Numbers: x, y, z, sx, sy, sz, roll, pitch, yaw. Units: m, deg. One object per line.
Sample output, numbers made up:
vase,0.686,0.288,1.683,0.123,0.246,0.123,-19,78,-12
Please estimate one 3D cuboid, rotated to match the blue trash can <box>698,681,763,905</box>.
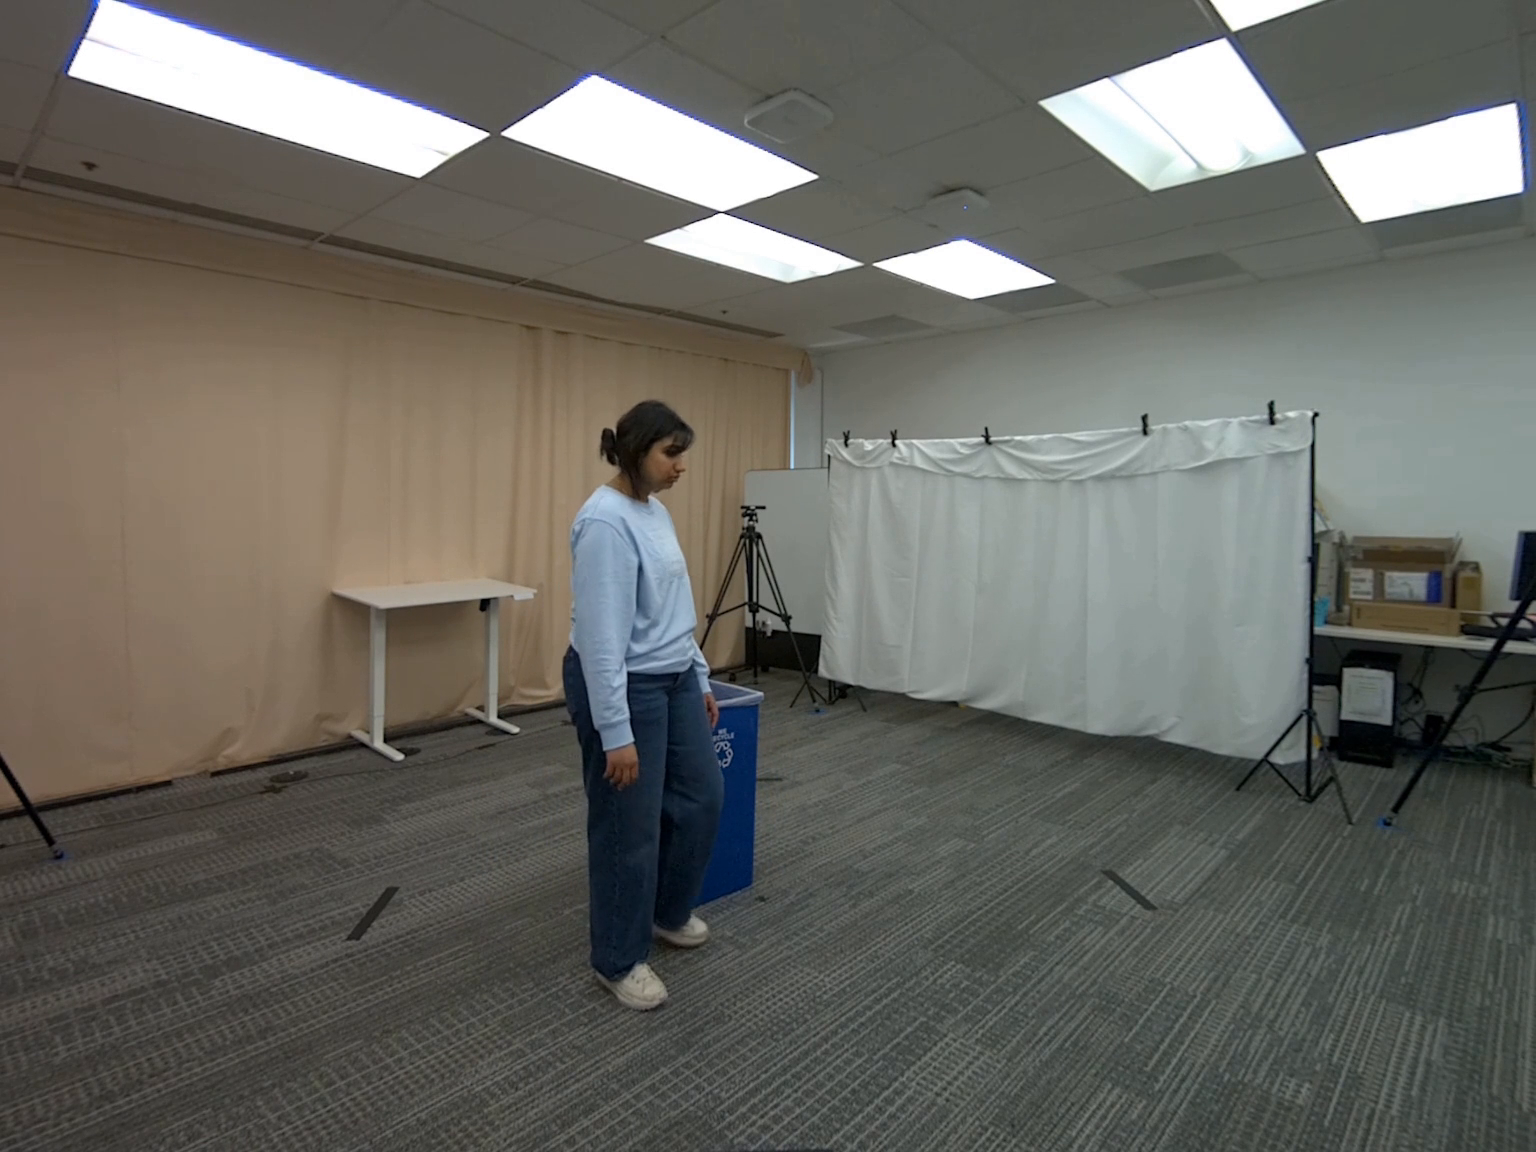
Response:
blue trash can,-0.257,0.778,3.102,0.363,0.712,0.390,-3,5,-40
